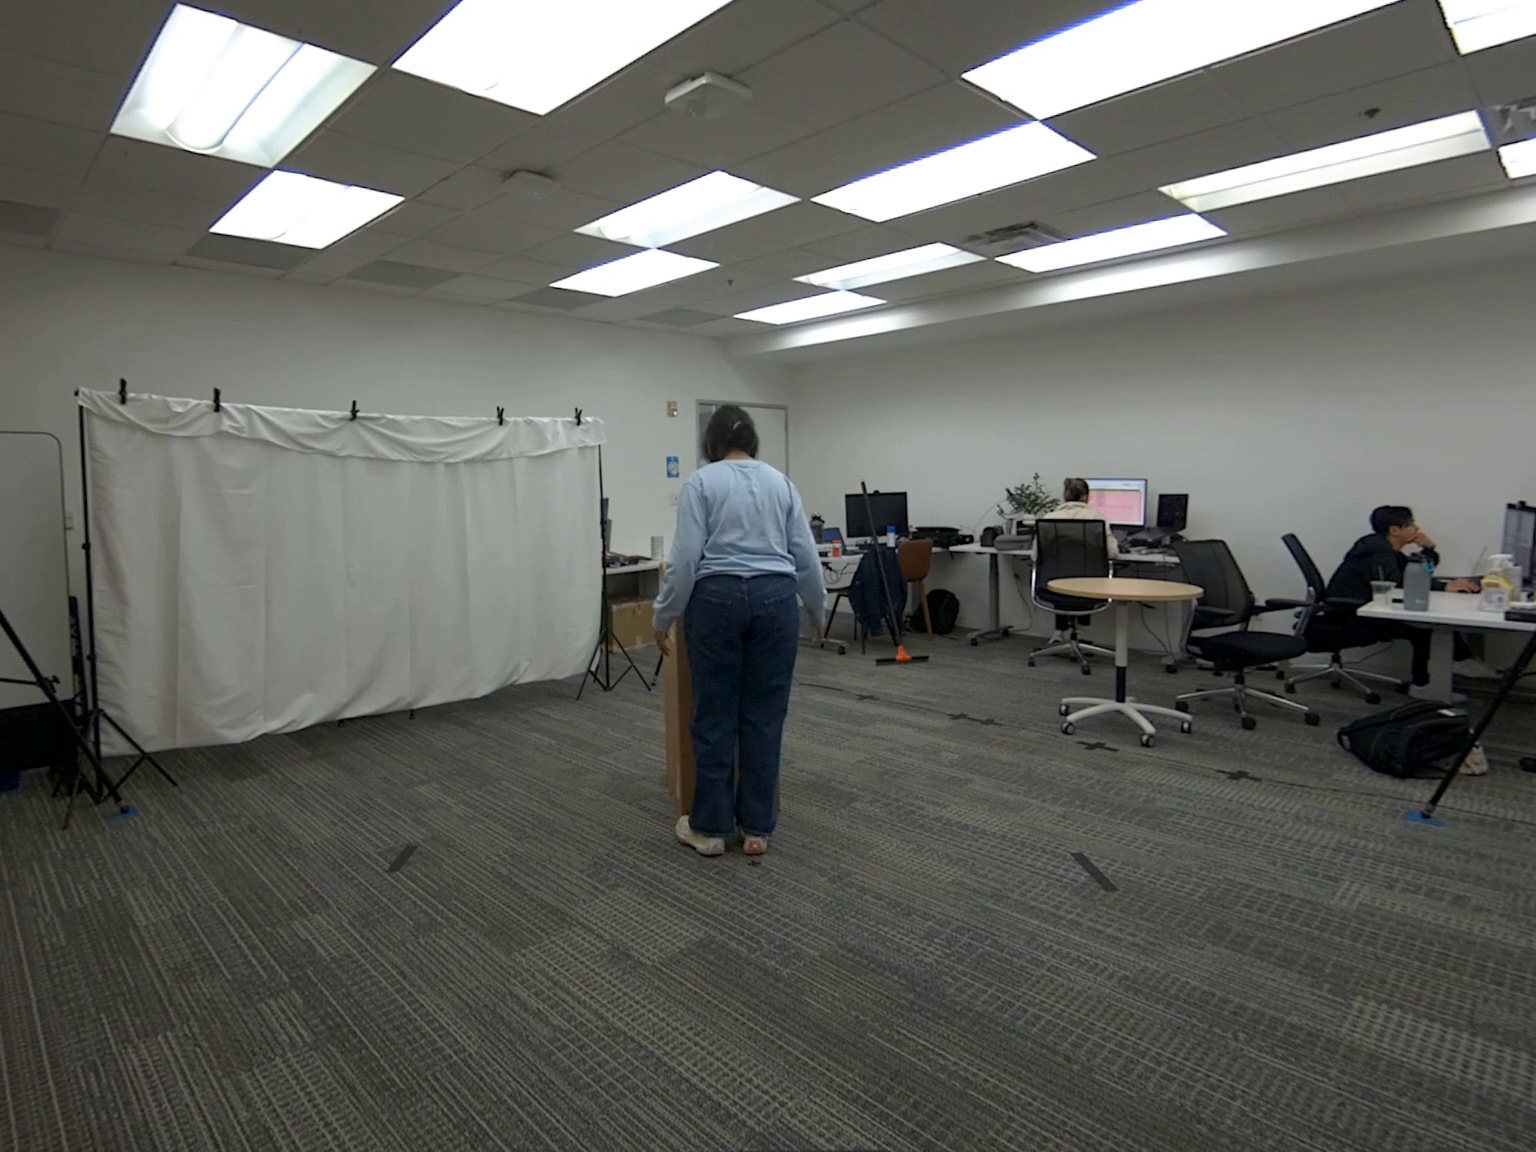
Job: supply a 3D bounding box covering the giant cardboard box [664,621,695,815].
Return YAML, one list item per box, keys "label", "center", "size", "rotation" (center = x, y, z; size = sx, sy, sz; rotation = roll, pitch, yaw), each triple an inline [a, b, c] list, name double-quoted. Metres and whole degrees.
- label: "giant cardboard box"
  center: [-0.230, 0.458, 3.809]
  size: [0.442, 1.023, 0.592]
  rotation: [-3, 4, -11]
